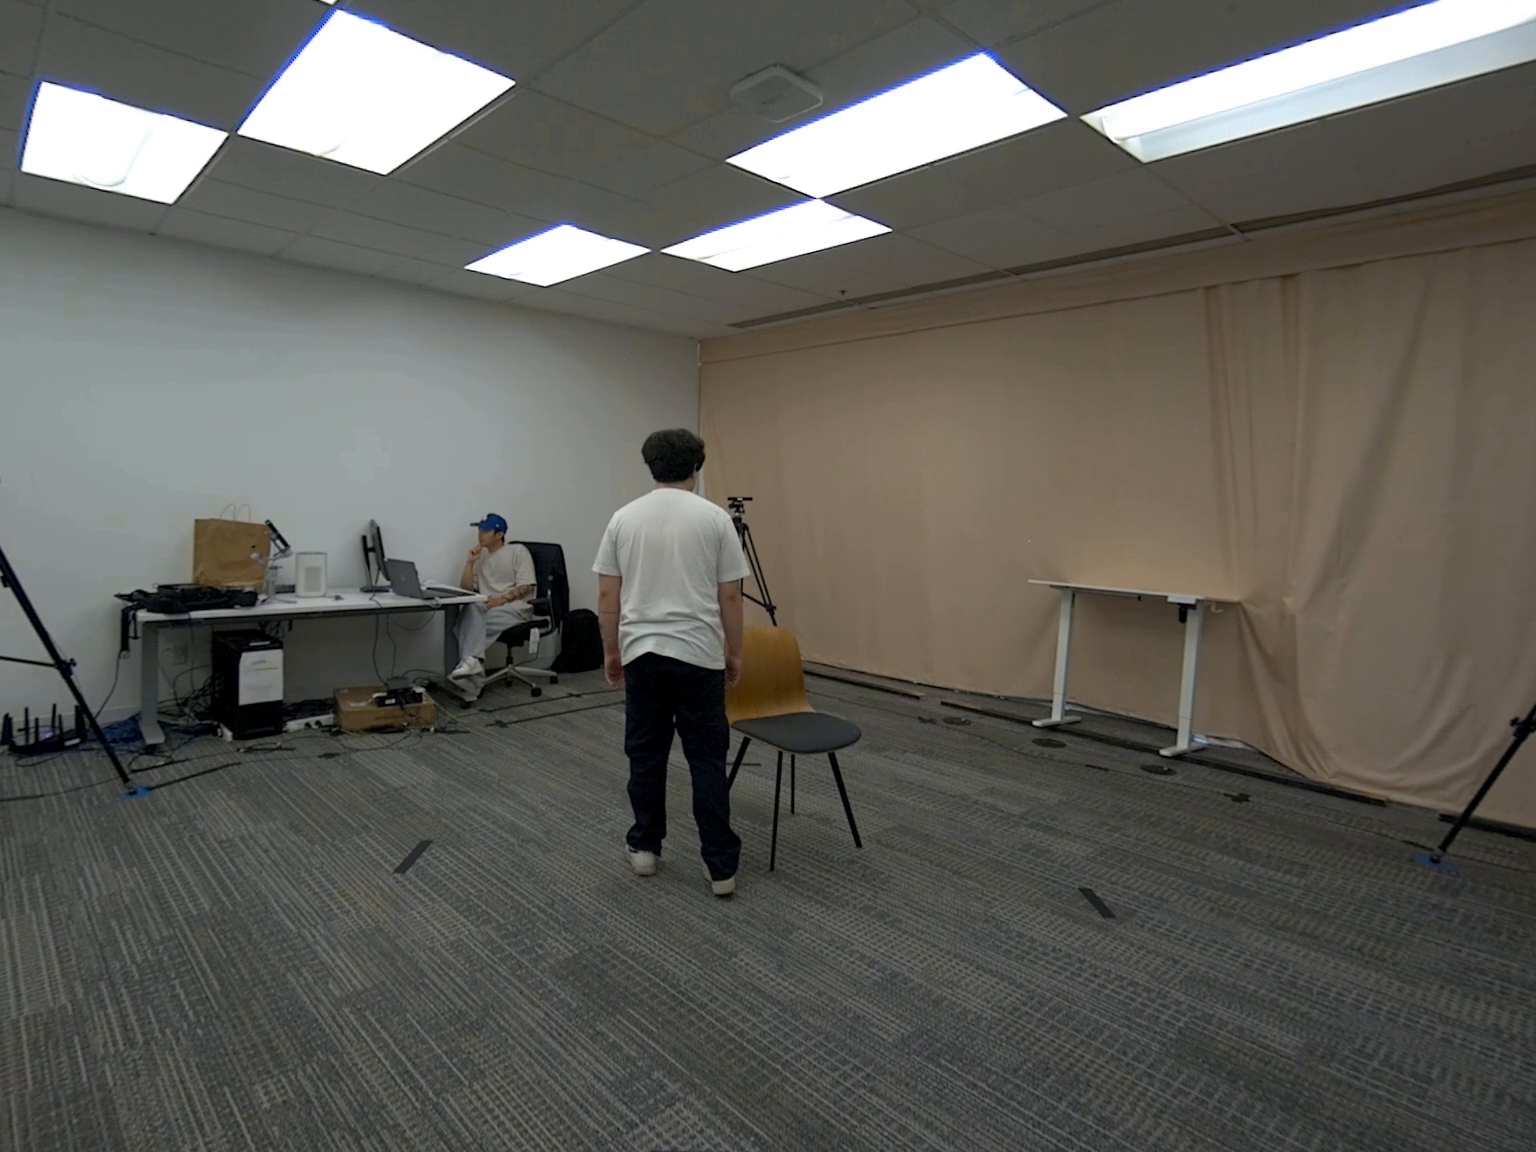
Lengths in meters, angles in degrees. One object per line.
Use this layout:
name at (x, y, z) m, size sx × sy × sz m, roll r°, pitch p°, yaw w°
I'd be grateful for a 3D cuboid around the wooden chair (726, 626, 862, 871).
wooden chair at (0.076, 0.659, 3.423) m, size 0.467 × 0.878 × 0.534 m, roll 0°, pitch -1°, yaw -35°
